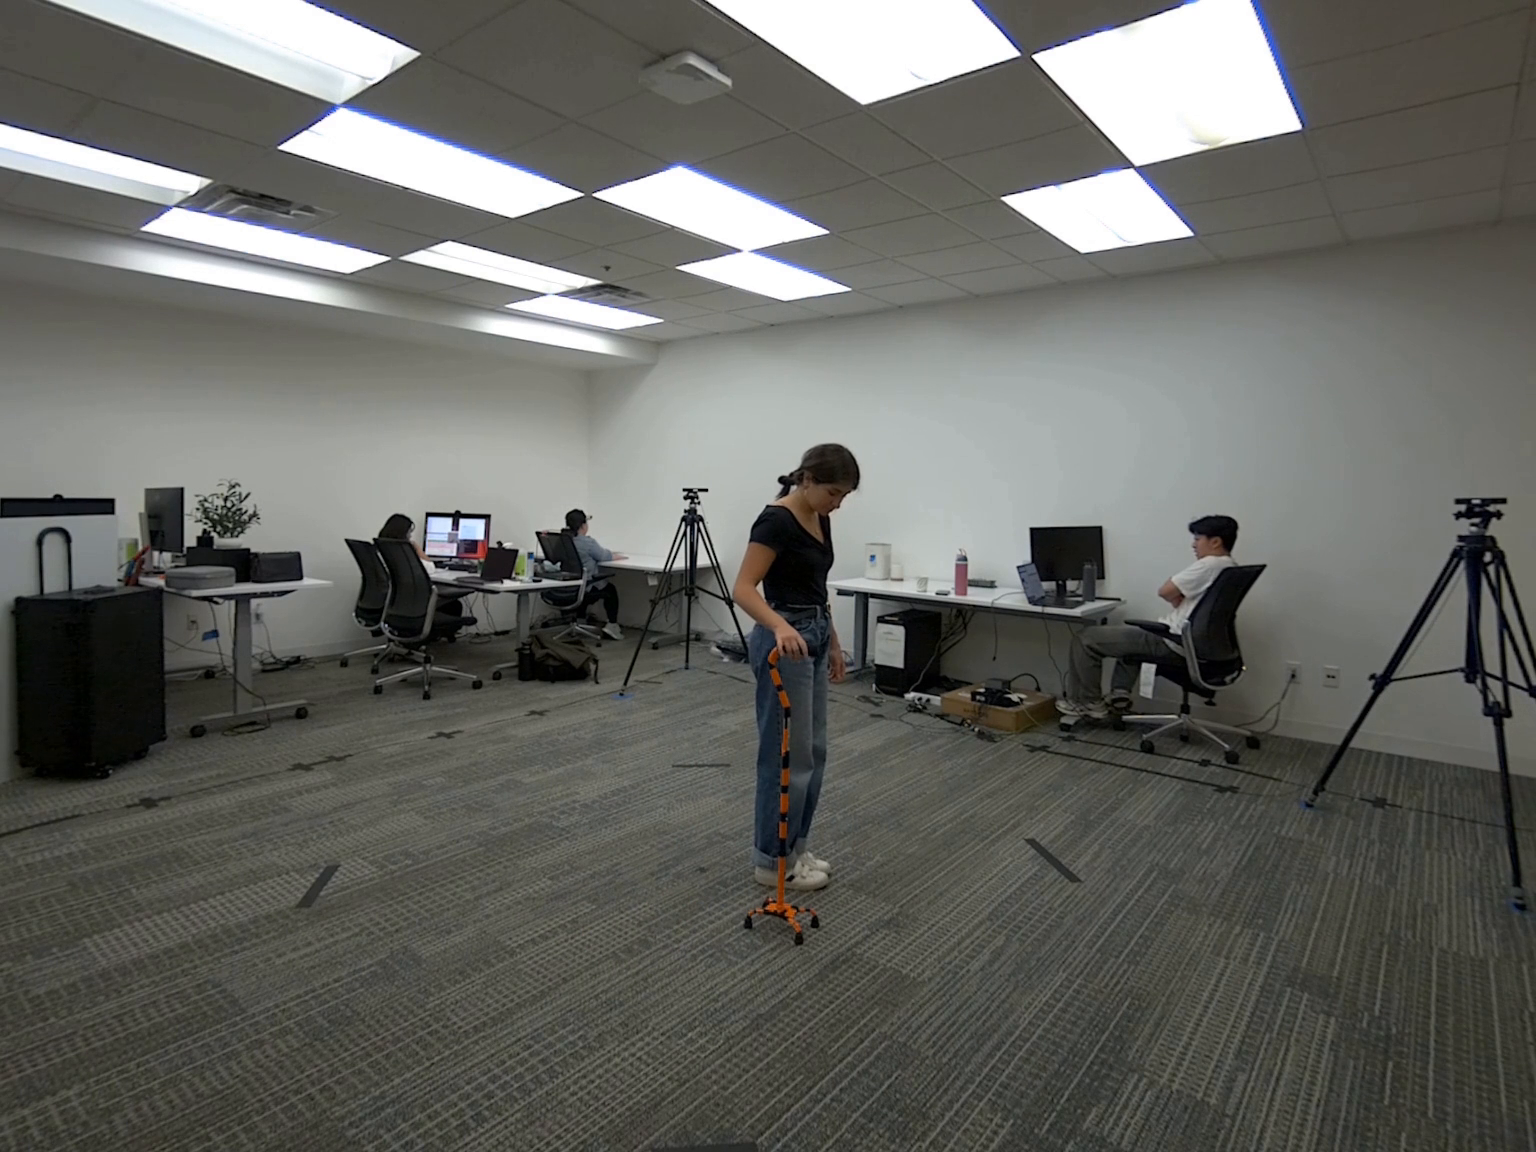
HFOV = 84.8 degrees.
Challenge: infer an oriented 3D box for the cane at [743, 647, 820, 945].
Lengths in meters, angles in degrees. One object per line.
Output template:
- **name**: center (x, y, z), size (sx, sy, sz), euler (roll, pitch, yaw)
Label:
- **cane**: center (0.061, 0.662, 2.685), size (0.212, 0.905, 0.148), euler (5, 3, 25)
